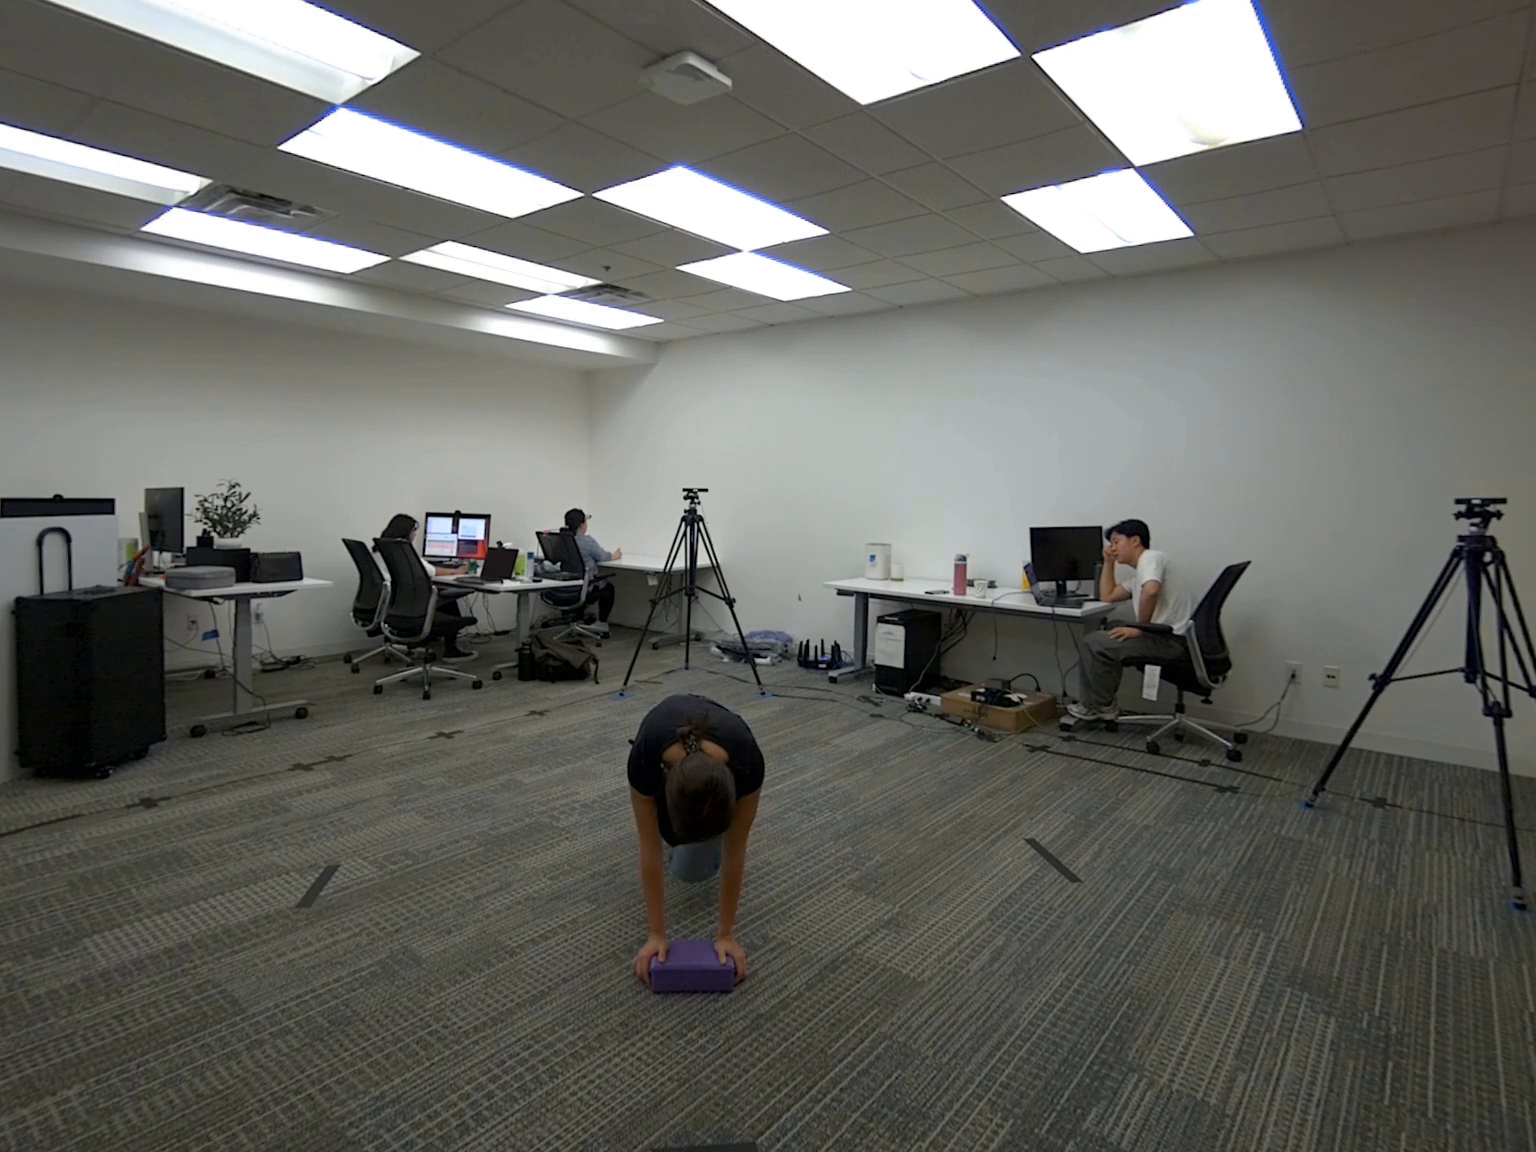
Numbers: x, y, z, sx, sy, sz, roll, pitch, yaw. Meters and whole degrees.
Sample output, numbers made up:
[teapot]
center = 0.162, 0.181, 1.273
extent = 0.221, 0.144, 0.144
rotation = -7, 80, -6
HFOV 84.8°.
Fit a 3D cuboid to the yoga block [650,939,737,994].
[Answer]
[yoga block]
center = -0.215, 1.099, 2.410
extent = 0.228, 0.076, 0.150
rotation = 2, 3, -4
